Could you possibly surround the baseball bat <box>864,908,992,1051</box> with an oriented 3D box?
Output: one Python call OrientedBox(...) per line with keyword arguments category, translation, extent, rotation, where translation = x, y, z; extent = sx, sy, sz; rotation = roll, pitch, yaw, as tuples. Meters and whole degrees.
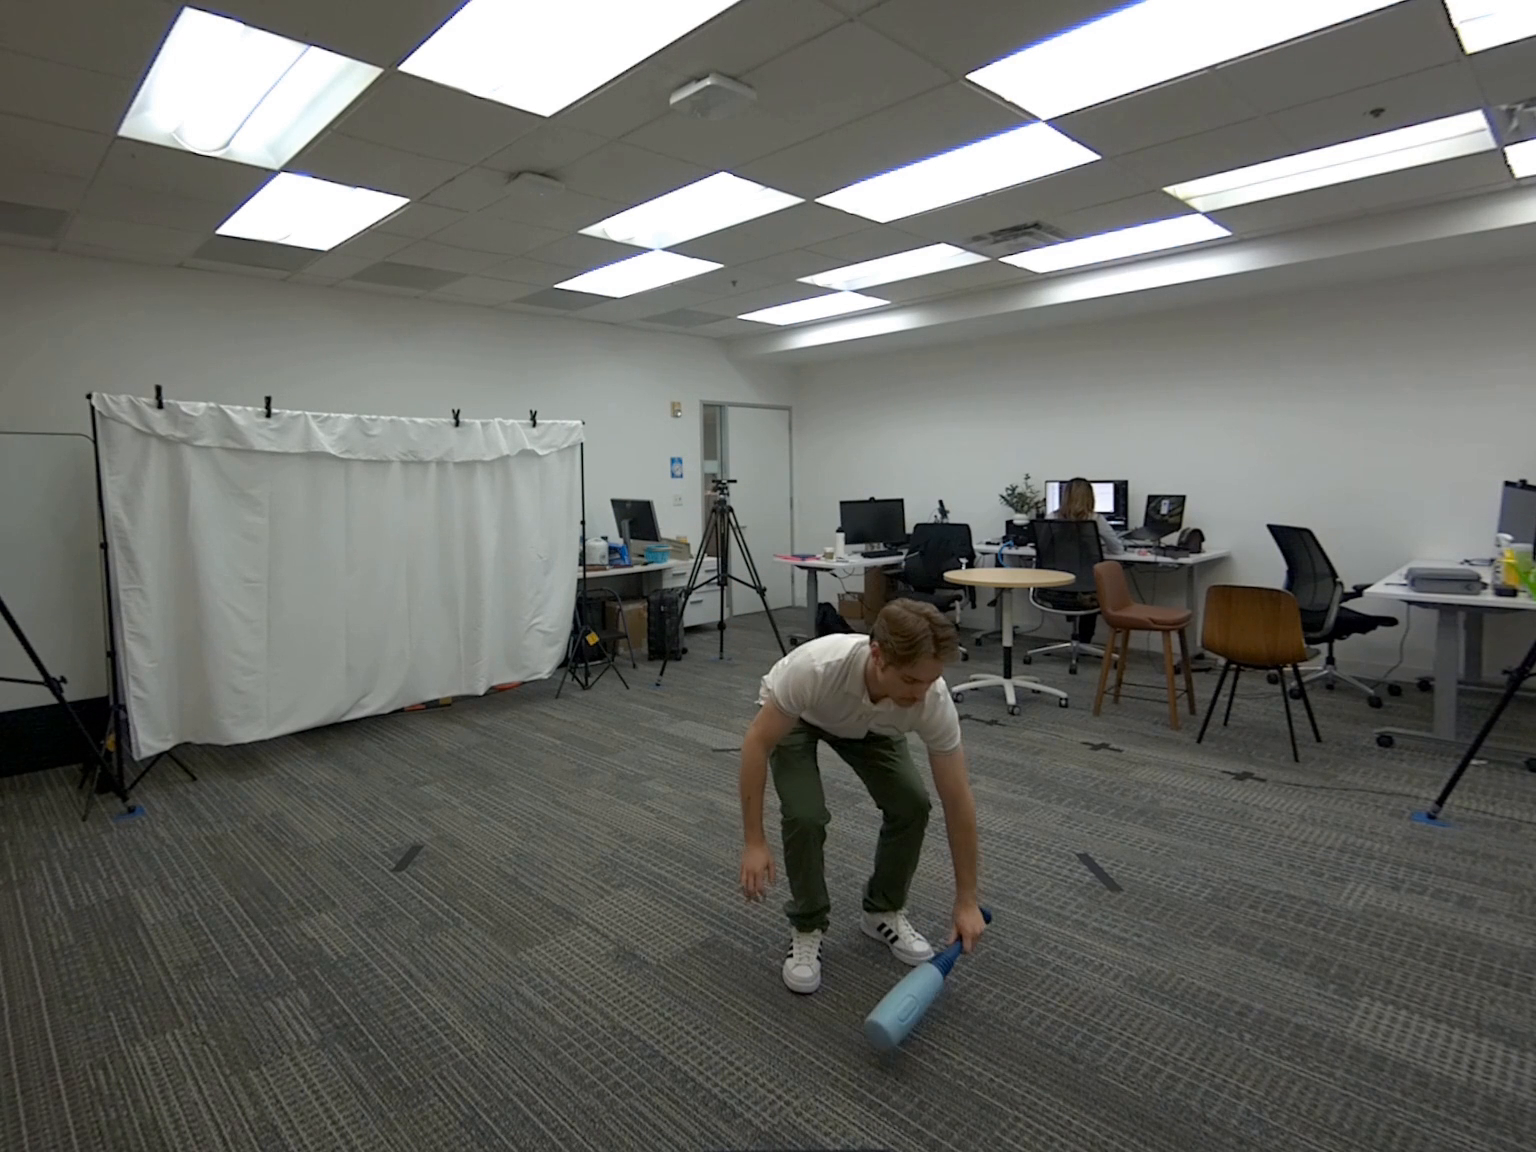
OrientedBox(category="baseball bat", translation=(0.430, 1.002, 2.177), extent=(0.092, 0.088, 0.533), rotation=(3, 18, 43))
